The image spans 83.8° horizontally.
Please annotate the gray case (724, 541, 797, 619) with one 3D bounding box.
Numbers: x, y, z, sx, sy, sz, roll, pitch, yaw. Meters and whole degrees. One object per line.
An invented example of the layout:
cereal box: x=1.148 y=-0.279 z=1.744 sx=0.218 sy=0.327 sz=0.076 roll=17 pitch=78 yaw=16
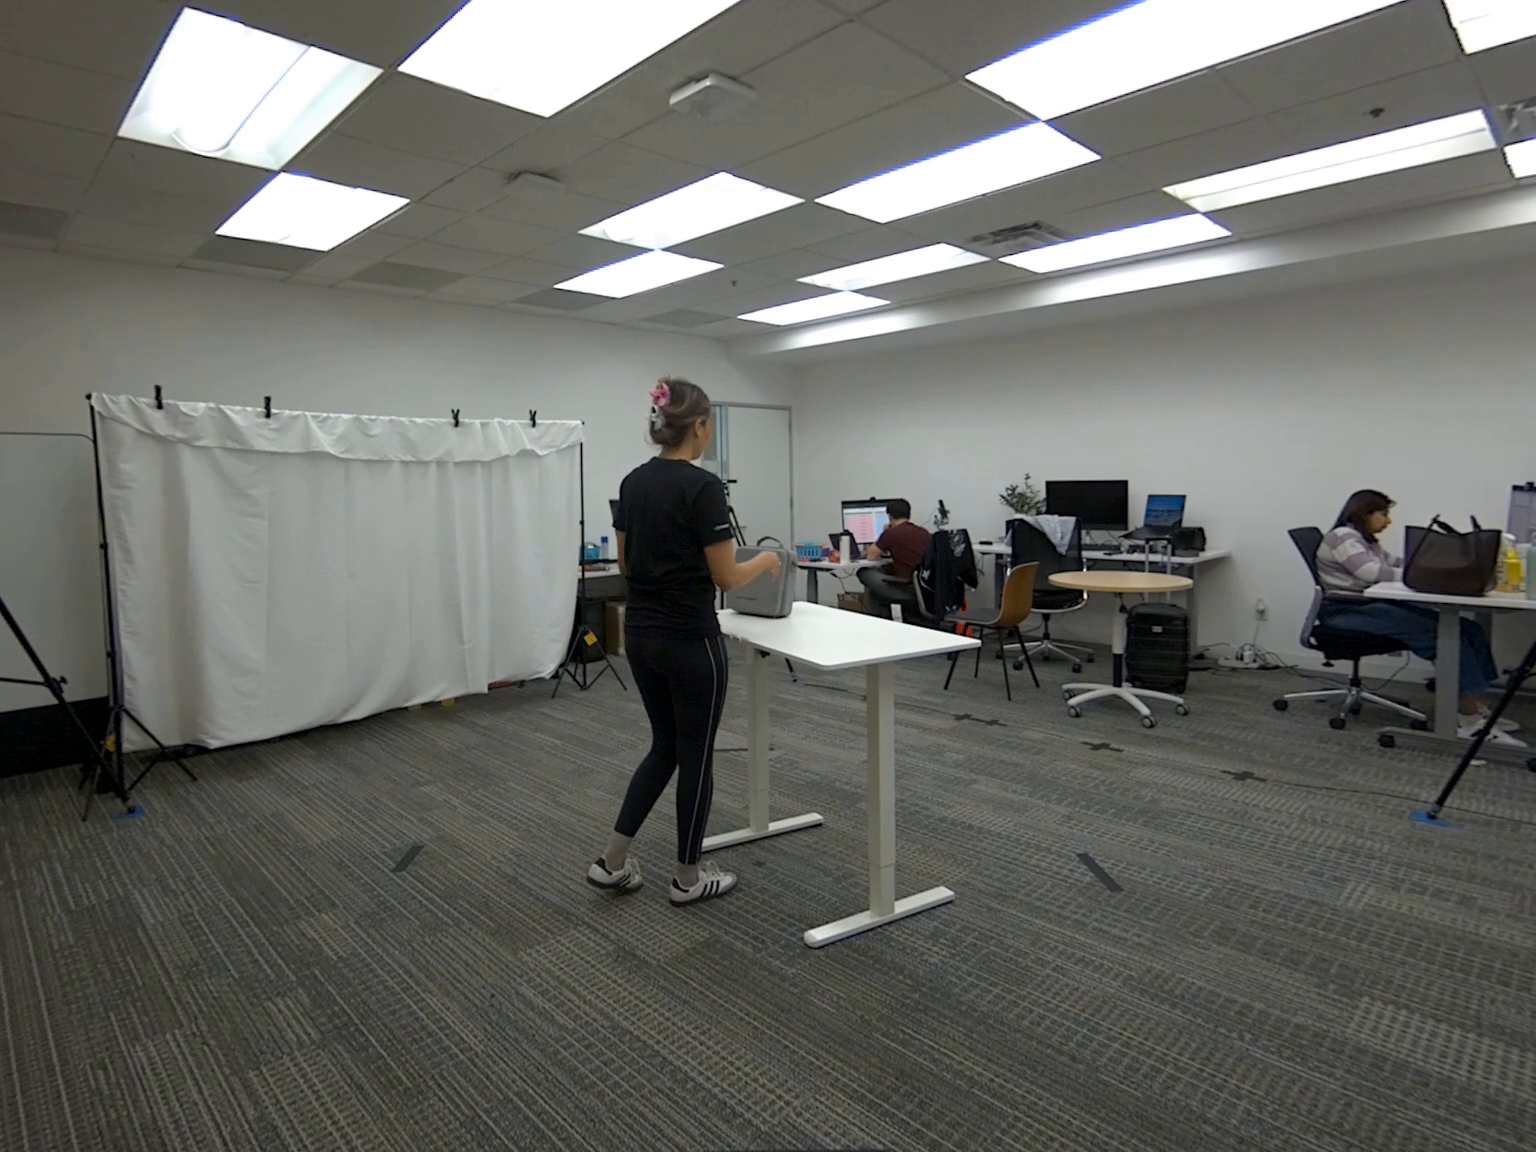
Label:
gray case: x=-0.019 y=0.014 z=3.234 sx=0.265 sy=0.261 sz=0.101 roll=5 pitch=-6 yaw=42
